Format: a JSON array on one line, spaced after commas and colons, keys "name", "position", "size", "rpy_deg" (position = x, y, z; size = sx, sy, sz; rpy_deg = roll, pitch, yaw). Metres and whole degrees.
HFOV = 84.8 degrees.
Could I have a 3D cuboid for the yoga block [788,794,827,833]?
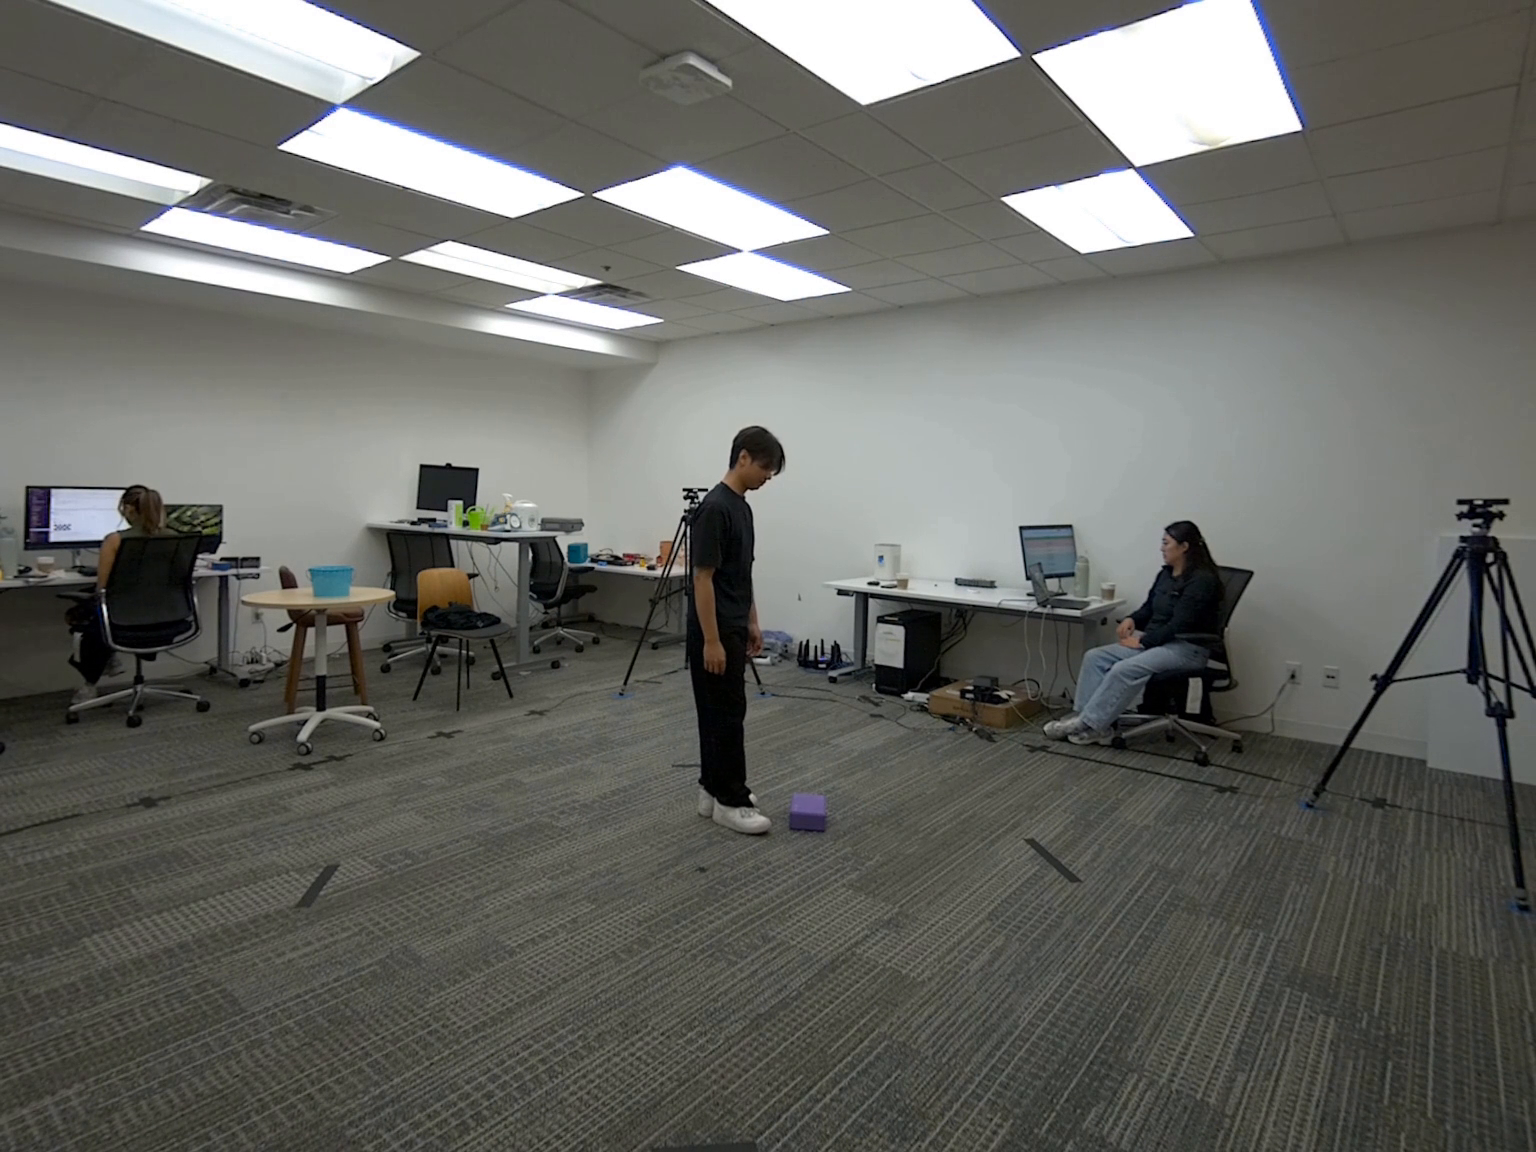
[{"name": "yoga block", "position": [0.162, 0.994, 3.591], "size": [0.150, 0.076, 0.229], "rpy_deg": [2, 7, 4]}]
